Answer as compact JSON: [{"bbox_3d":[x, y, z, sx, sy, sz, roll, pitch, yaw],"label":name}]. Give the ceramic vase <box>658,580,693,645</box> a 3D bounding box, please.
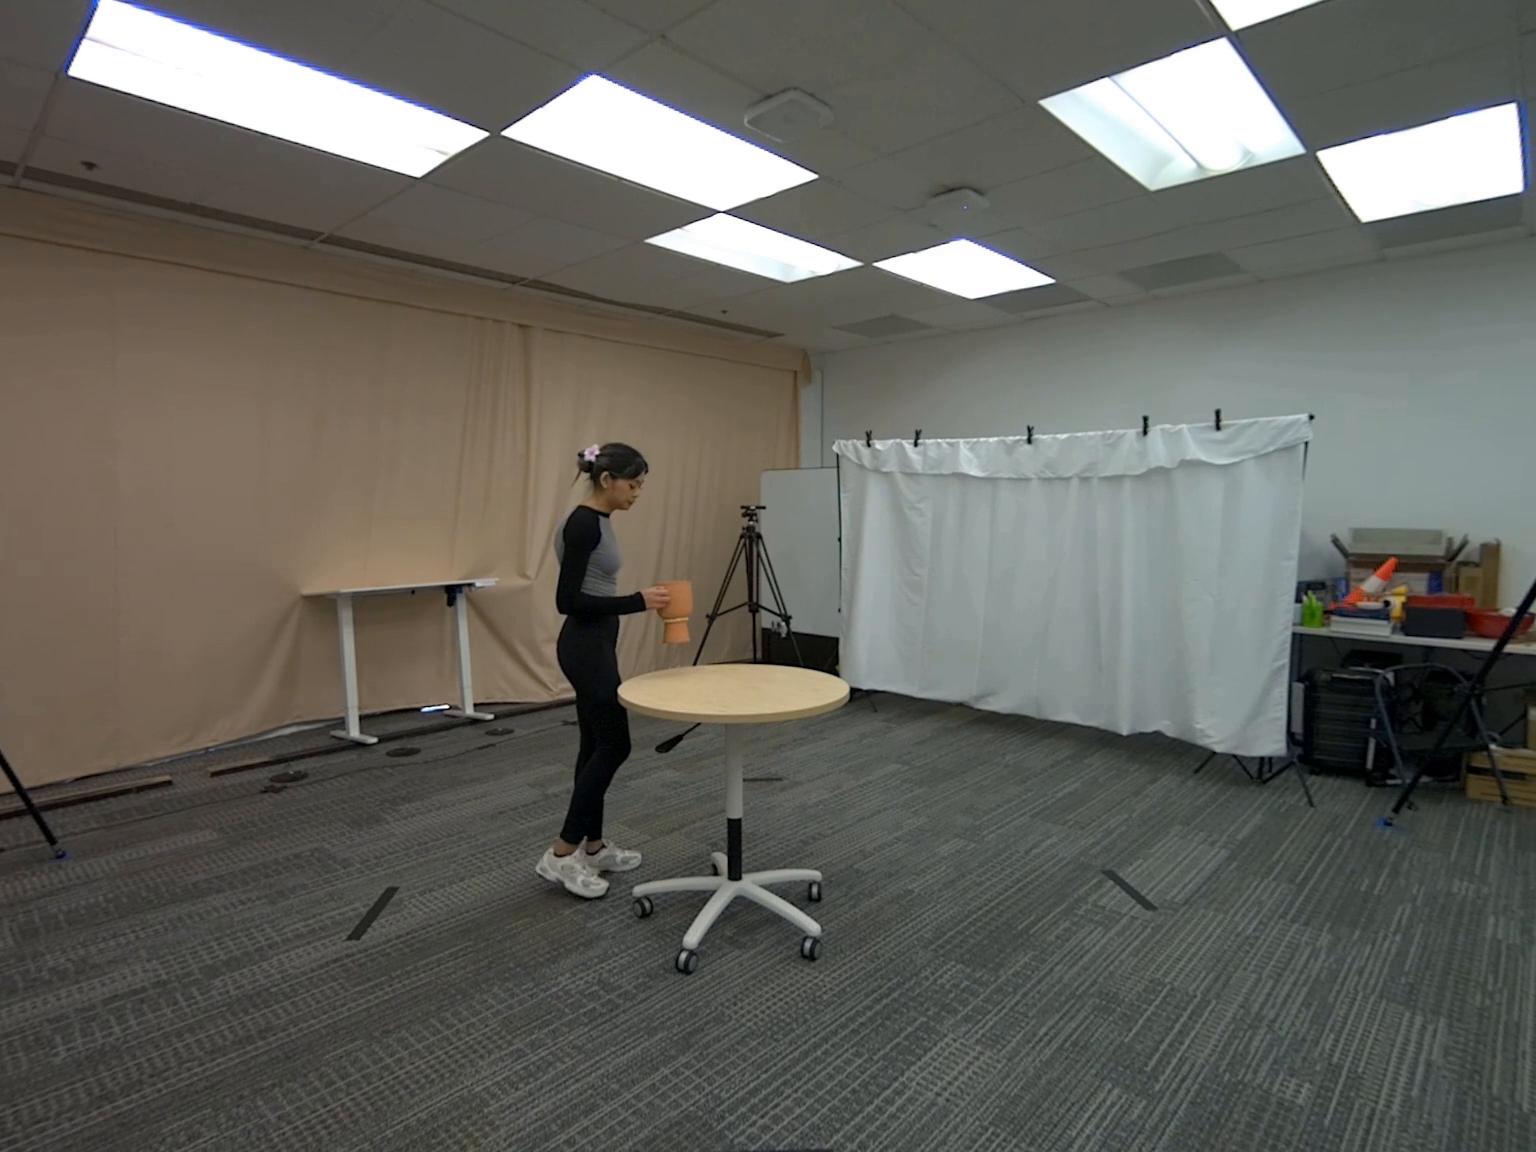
[{"bbox_3d":[-0.342,0.135,3.096,0.155,0.220,0.137,-2,-4,-25],"label":"ceramic vase"}]
